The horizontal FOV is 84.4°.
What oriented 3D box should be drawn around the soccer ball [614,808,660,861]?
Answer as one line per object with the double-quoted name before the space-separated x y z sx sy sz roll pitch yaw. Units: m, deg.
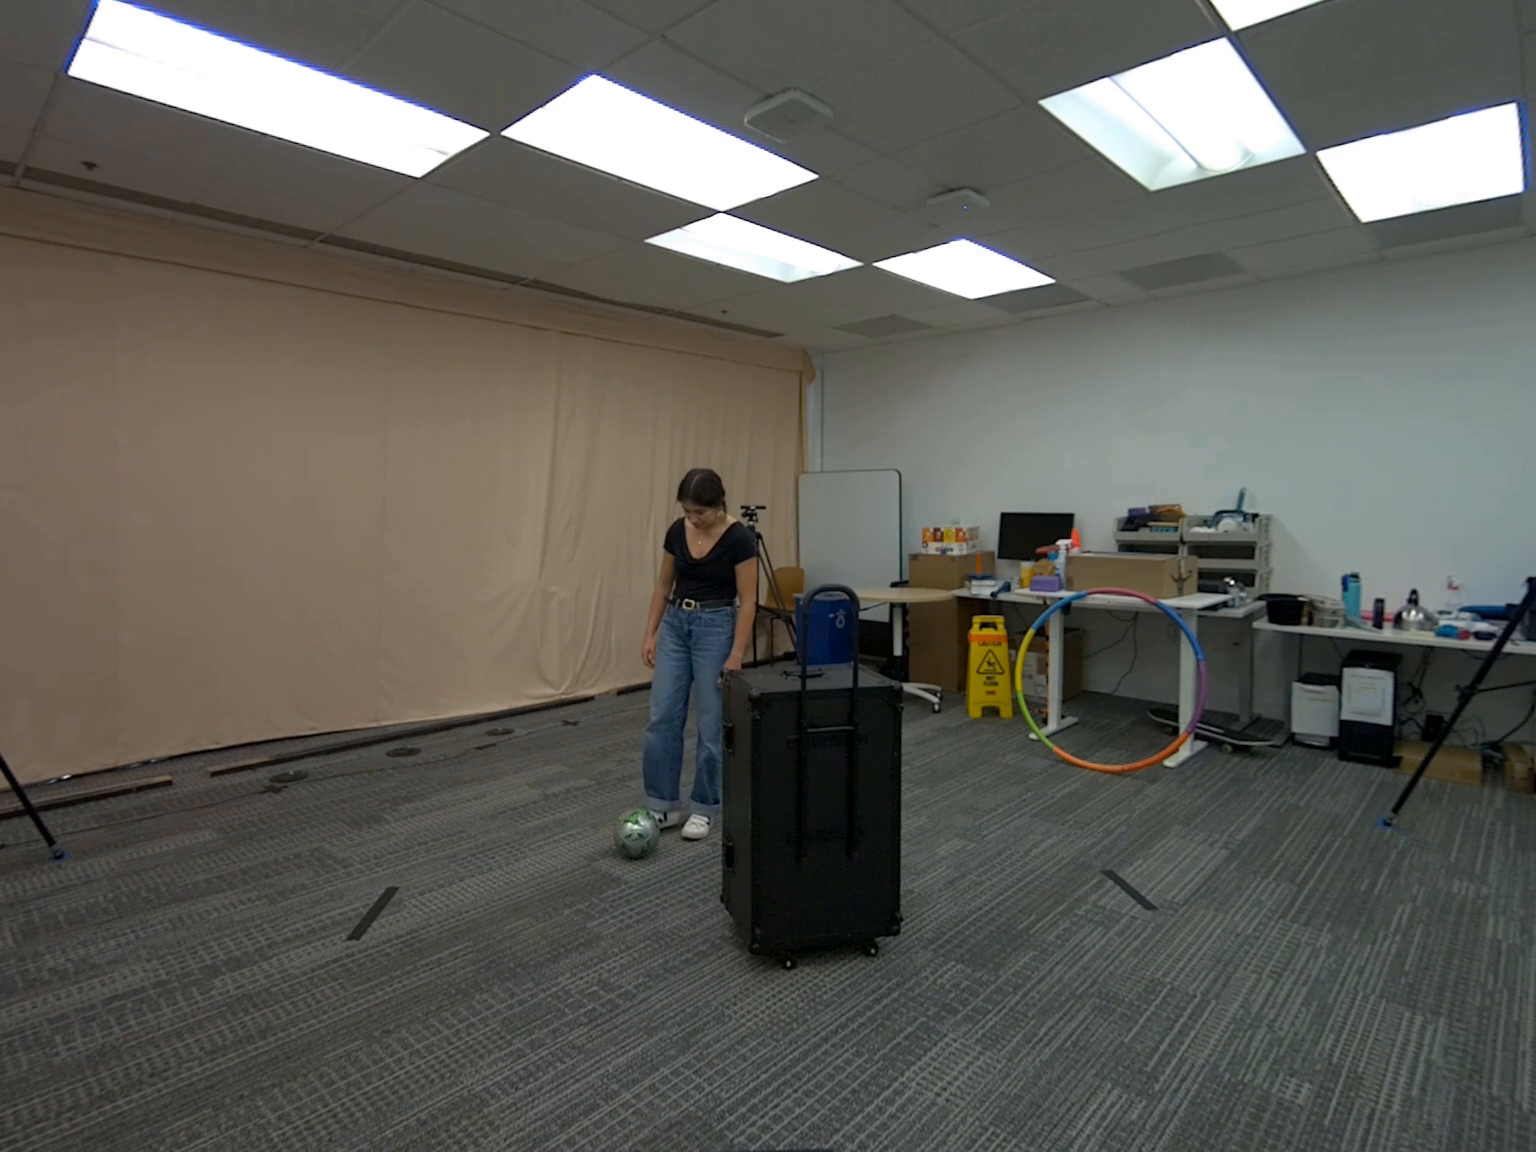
"soccer ball" -0.527 1.021 3.356 0.187 0.187 0.188 0 4 -2
